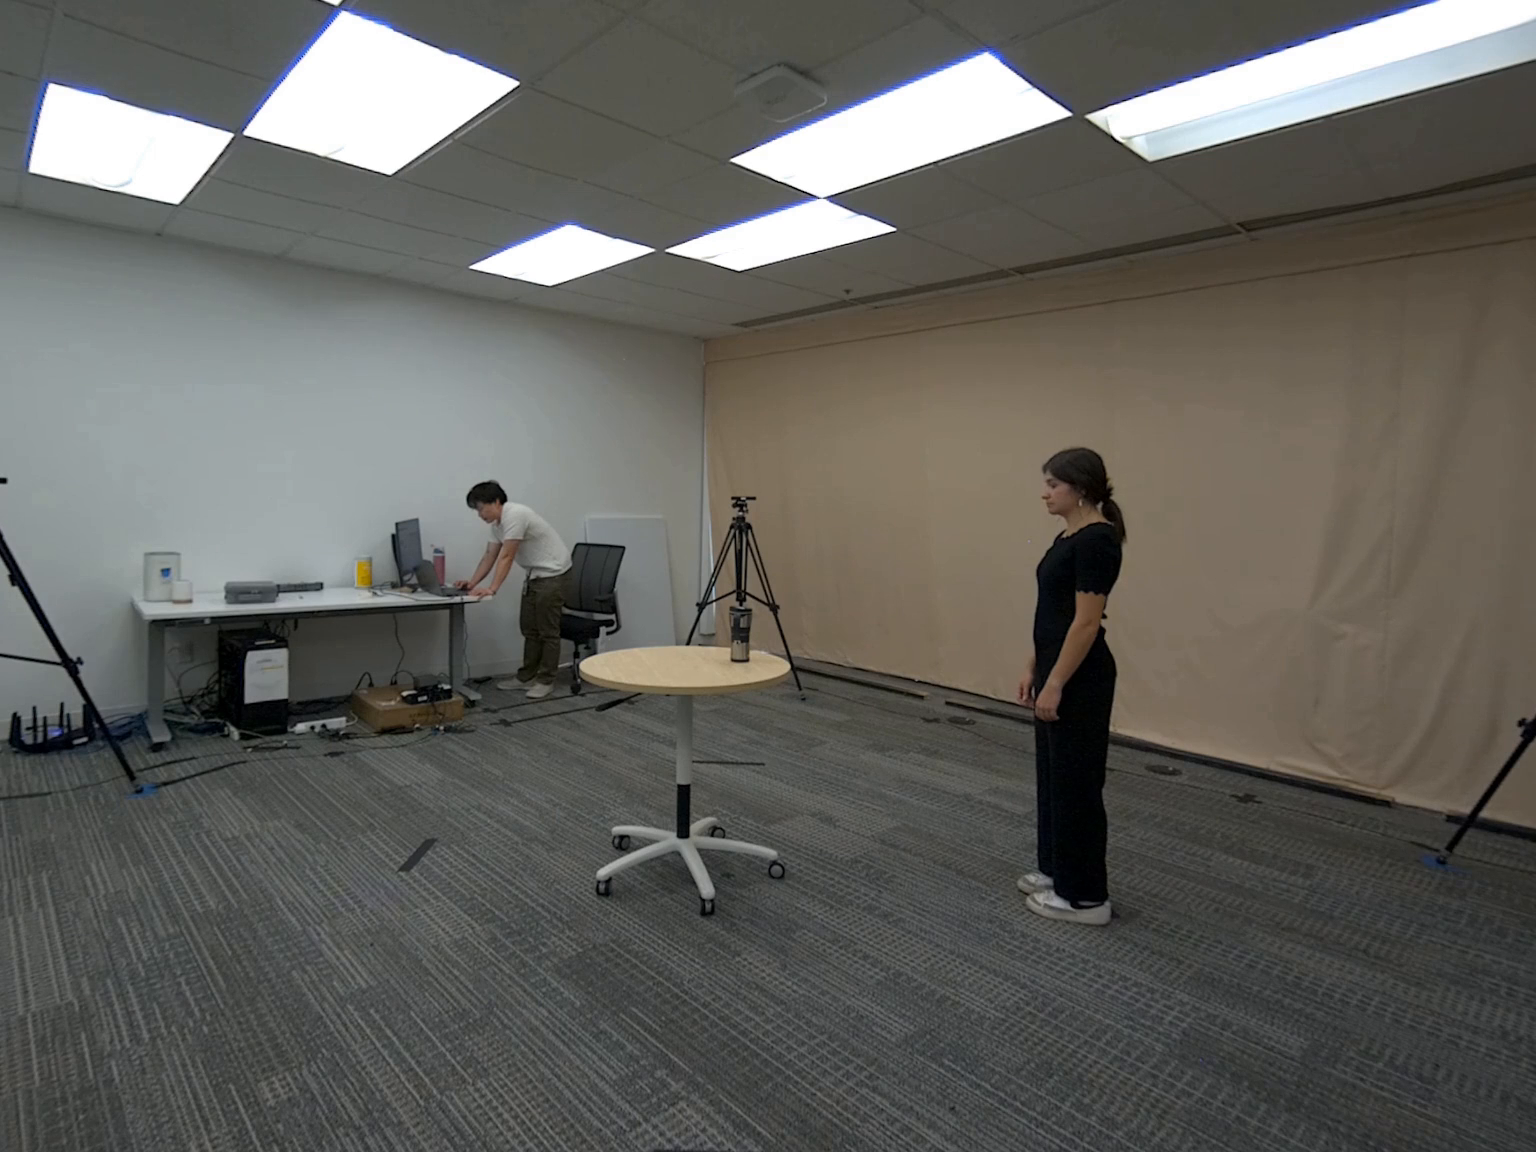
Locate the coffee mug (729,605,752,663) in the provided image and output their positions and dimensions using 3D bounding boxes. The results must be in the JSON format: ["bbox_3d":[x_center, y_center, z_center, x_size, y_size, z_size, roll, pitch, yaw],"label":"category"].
[{"bbox_3d":[-0.121,0.219,3.122,0.090,0.202,0.119,9,5,44],"label":"coffee mug"}]
